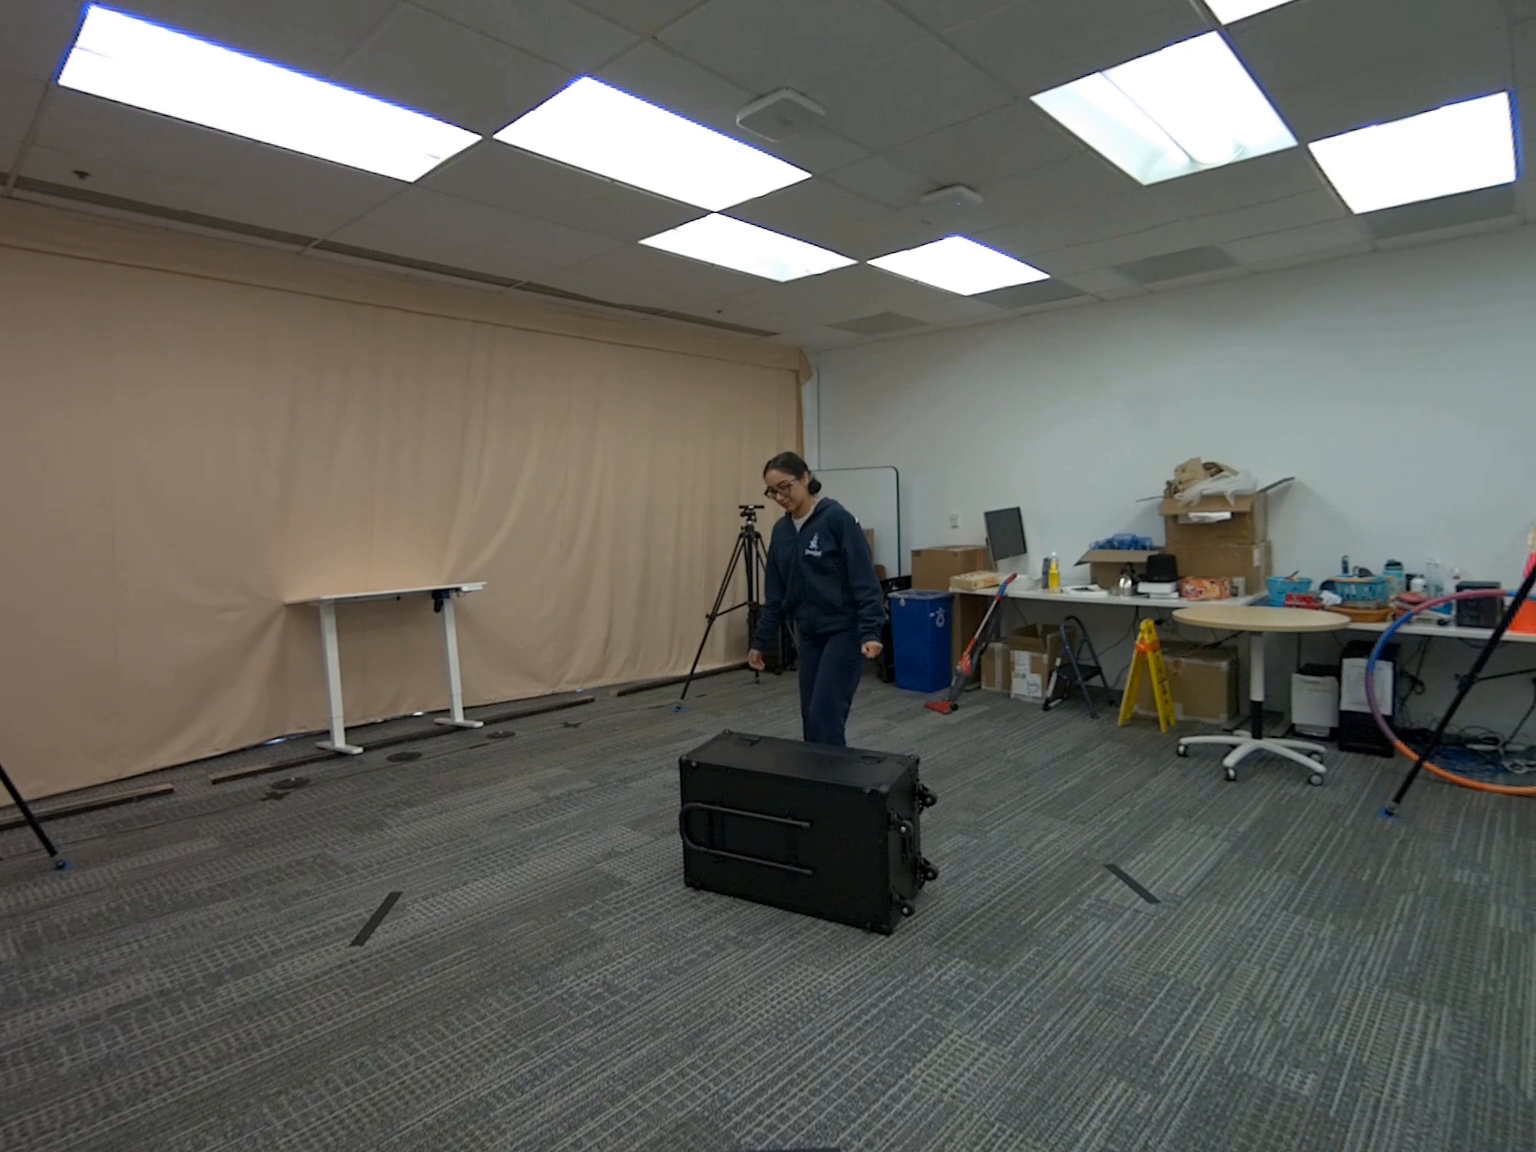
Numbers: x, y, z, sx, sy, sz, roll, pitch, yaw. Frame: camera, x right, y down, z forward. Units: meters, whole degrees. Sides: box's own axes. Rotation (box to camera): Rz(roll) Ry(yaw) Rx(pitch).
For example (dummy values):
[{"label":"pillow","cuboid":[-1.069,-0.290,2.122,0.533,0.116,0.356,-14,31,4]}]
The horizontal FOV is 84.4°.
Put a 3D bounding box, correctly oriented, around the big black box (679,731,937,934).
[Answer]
[{"label":"big black box","cuboid":[0.137,0.883,2.998,0.885,0.519,0.387,1,7,28]}]
